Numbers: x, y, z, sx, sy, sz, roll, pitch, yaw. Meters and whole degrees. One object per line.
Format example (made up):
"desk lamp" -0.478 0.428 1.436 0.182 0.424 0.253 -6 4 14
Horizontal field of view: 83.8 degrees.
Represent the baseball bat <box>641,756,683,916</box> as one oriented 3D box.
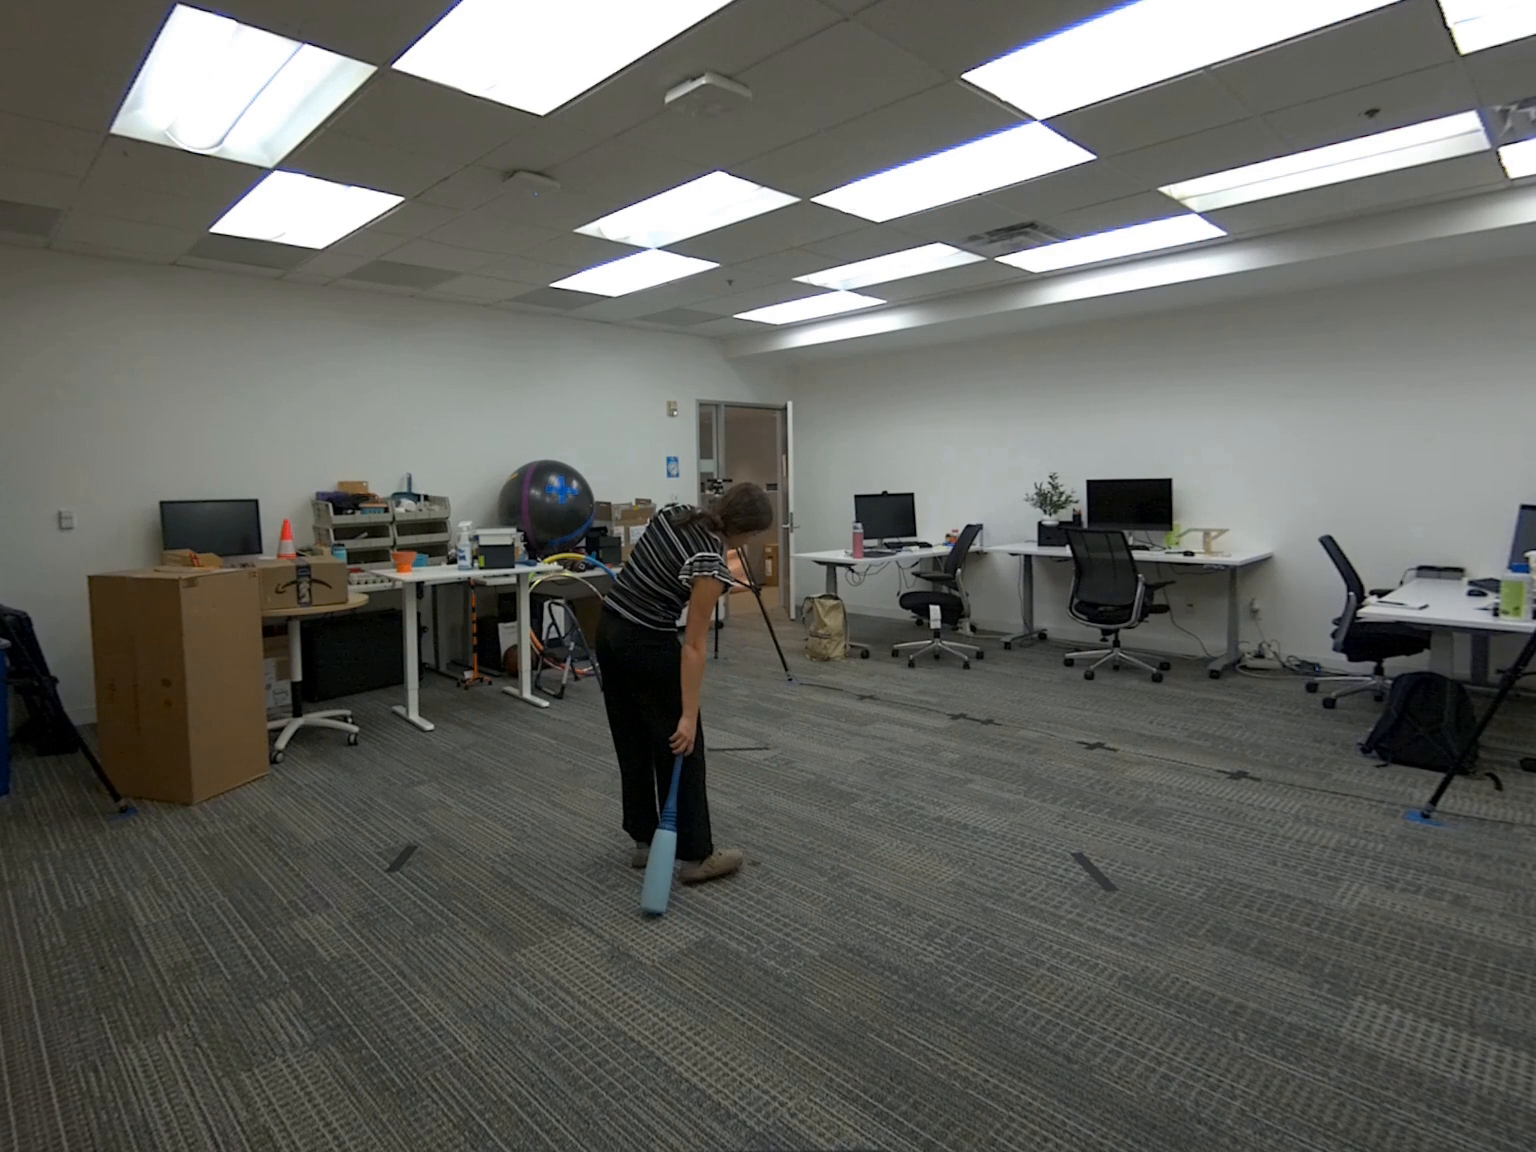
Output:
"baseball bat" -0.340 0.838 2.855 0.089 0.552 0.087 7 -25 2
